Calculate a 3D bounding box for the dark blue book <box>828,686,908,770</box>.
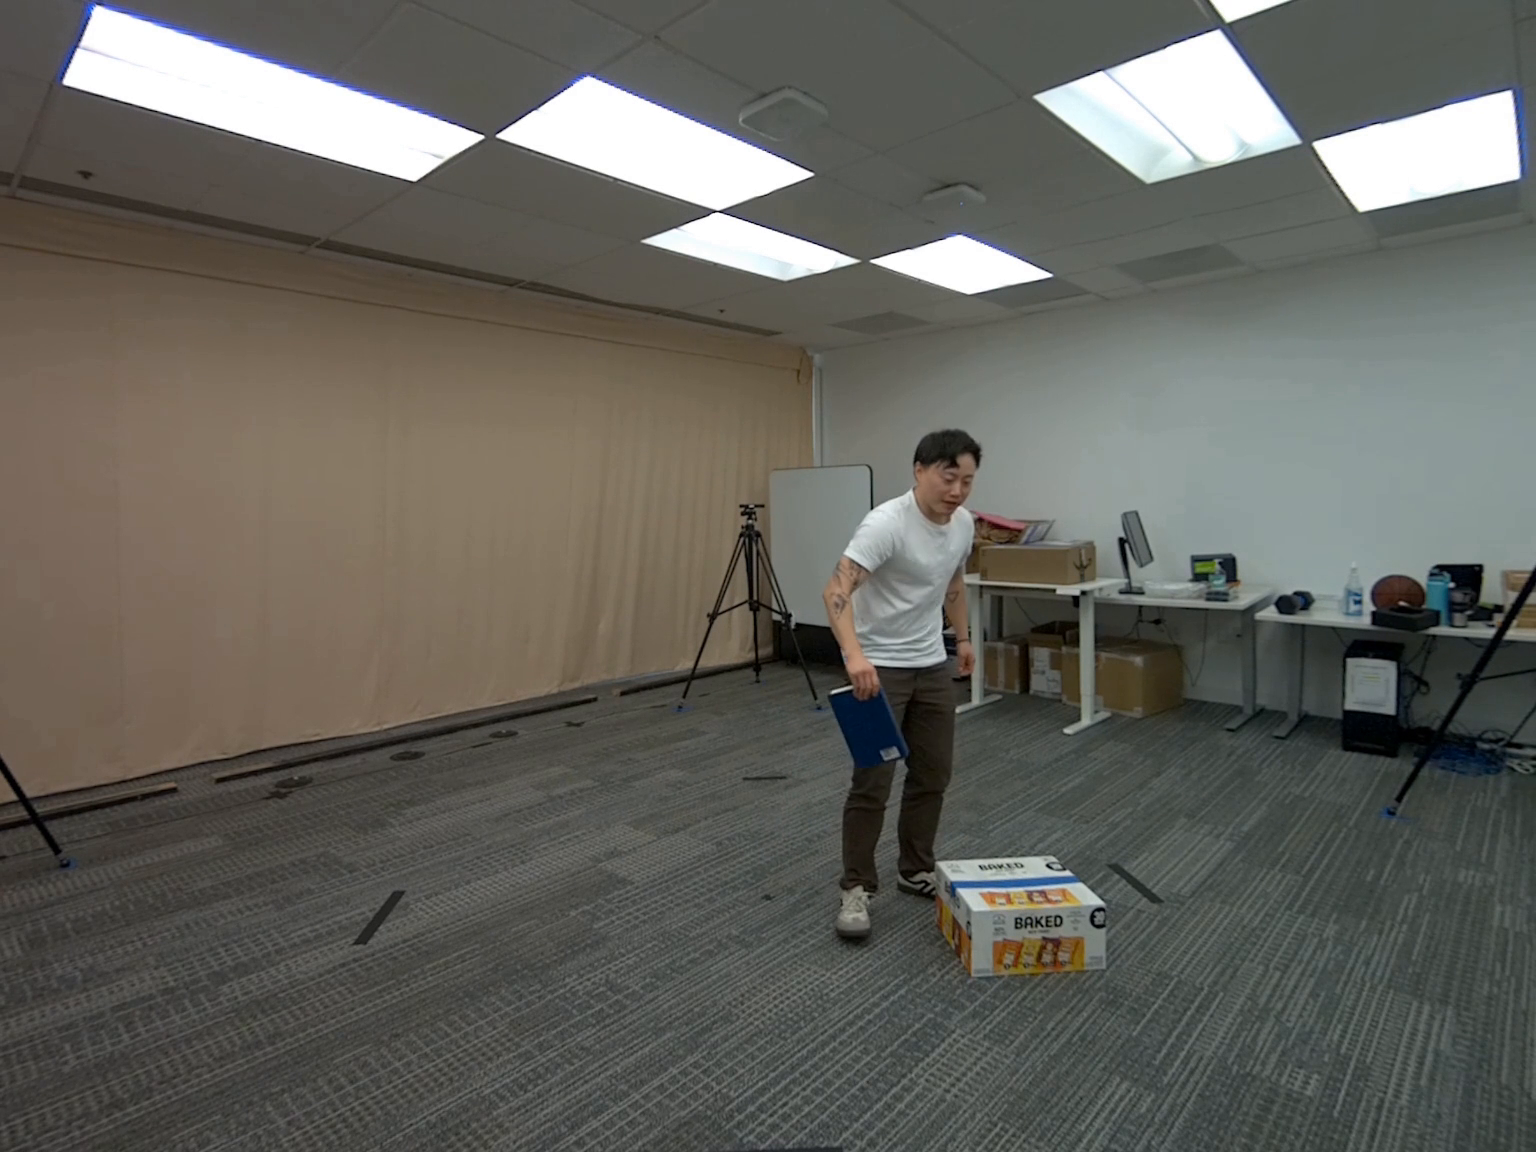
[{"bbox_3d":[0.301,0.450,2.520,0.166,0.244,0.044,-19,4,24],"label":"dark blue book"}]
